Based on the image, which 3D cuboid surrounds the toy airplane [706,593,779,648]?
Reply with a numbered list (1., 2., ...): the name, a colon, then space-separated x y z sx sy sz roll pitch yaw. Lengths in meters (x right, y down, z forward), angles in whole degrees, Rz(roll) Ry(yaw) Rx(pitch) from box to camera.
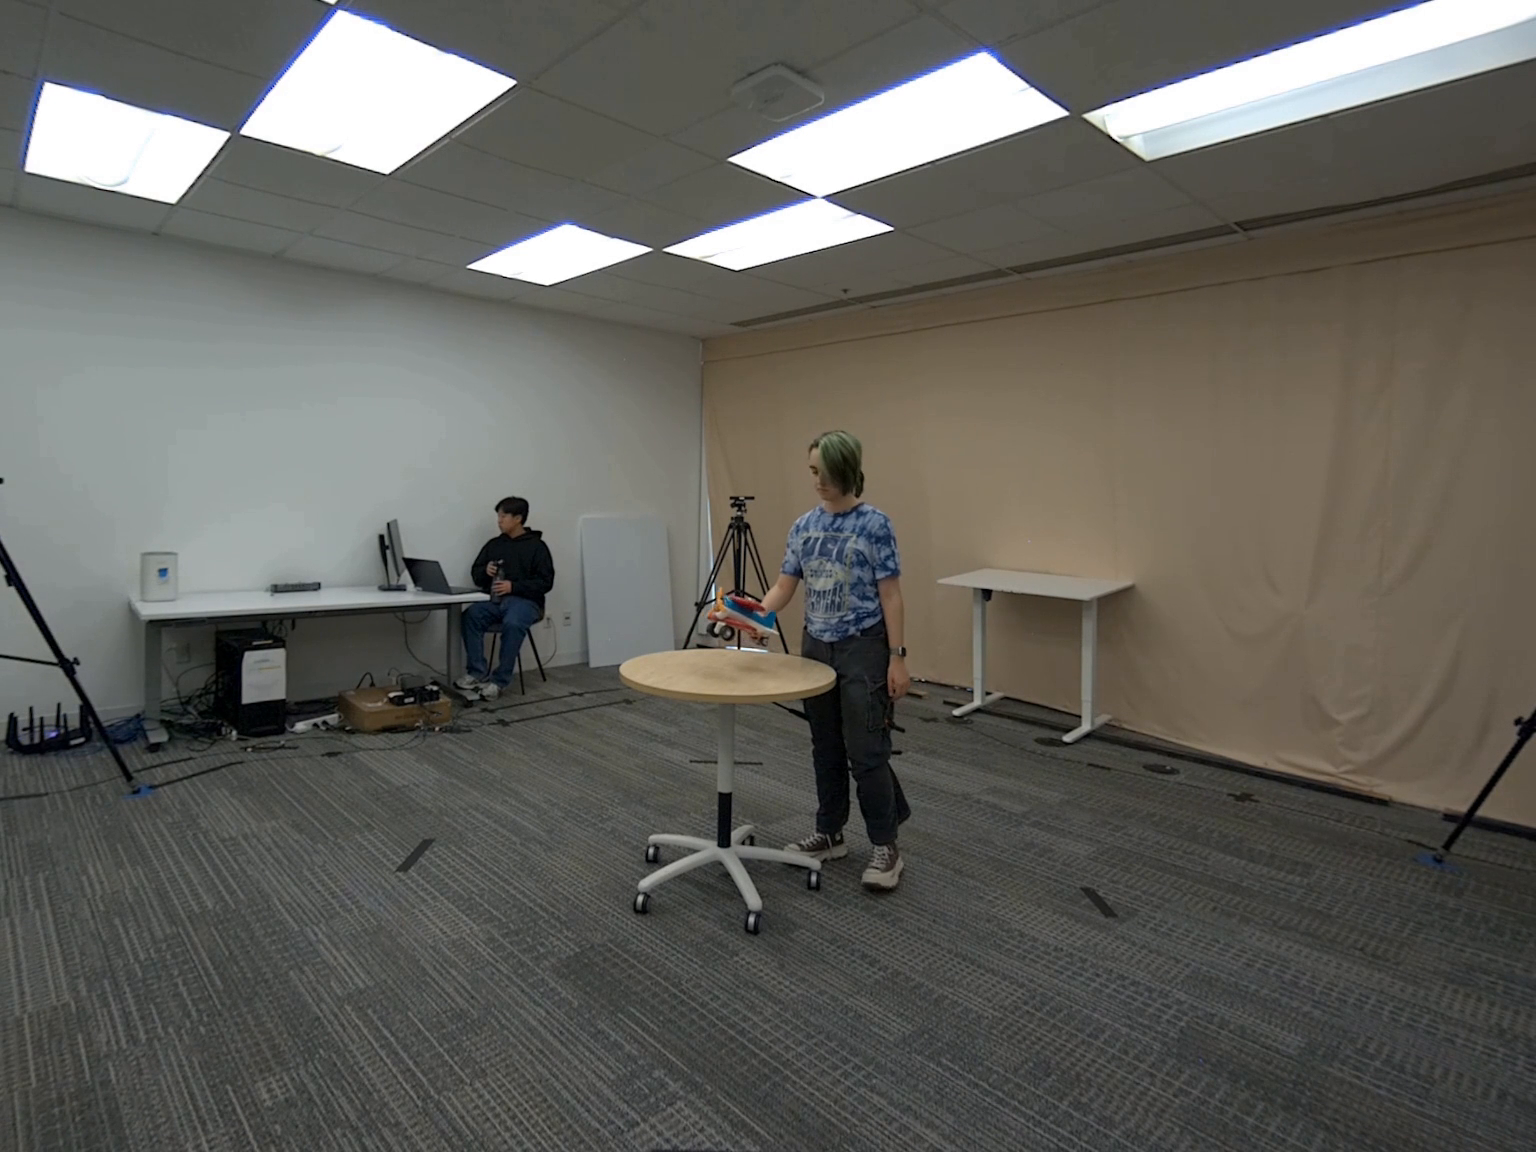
1. toy airplane: -0.099 0.157 2.966 0.257 0.157 0.252 7 -4 34
